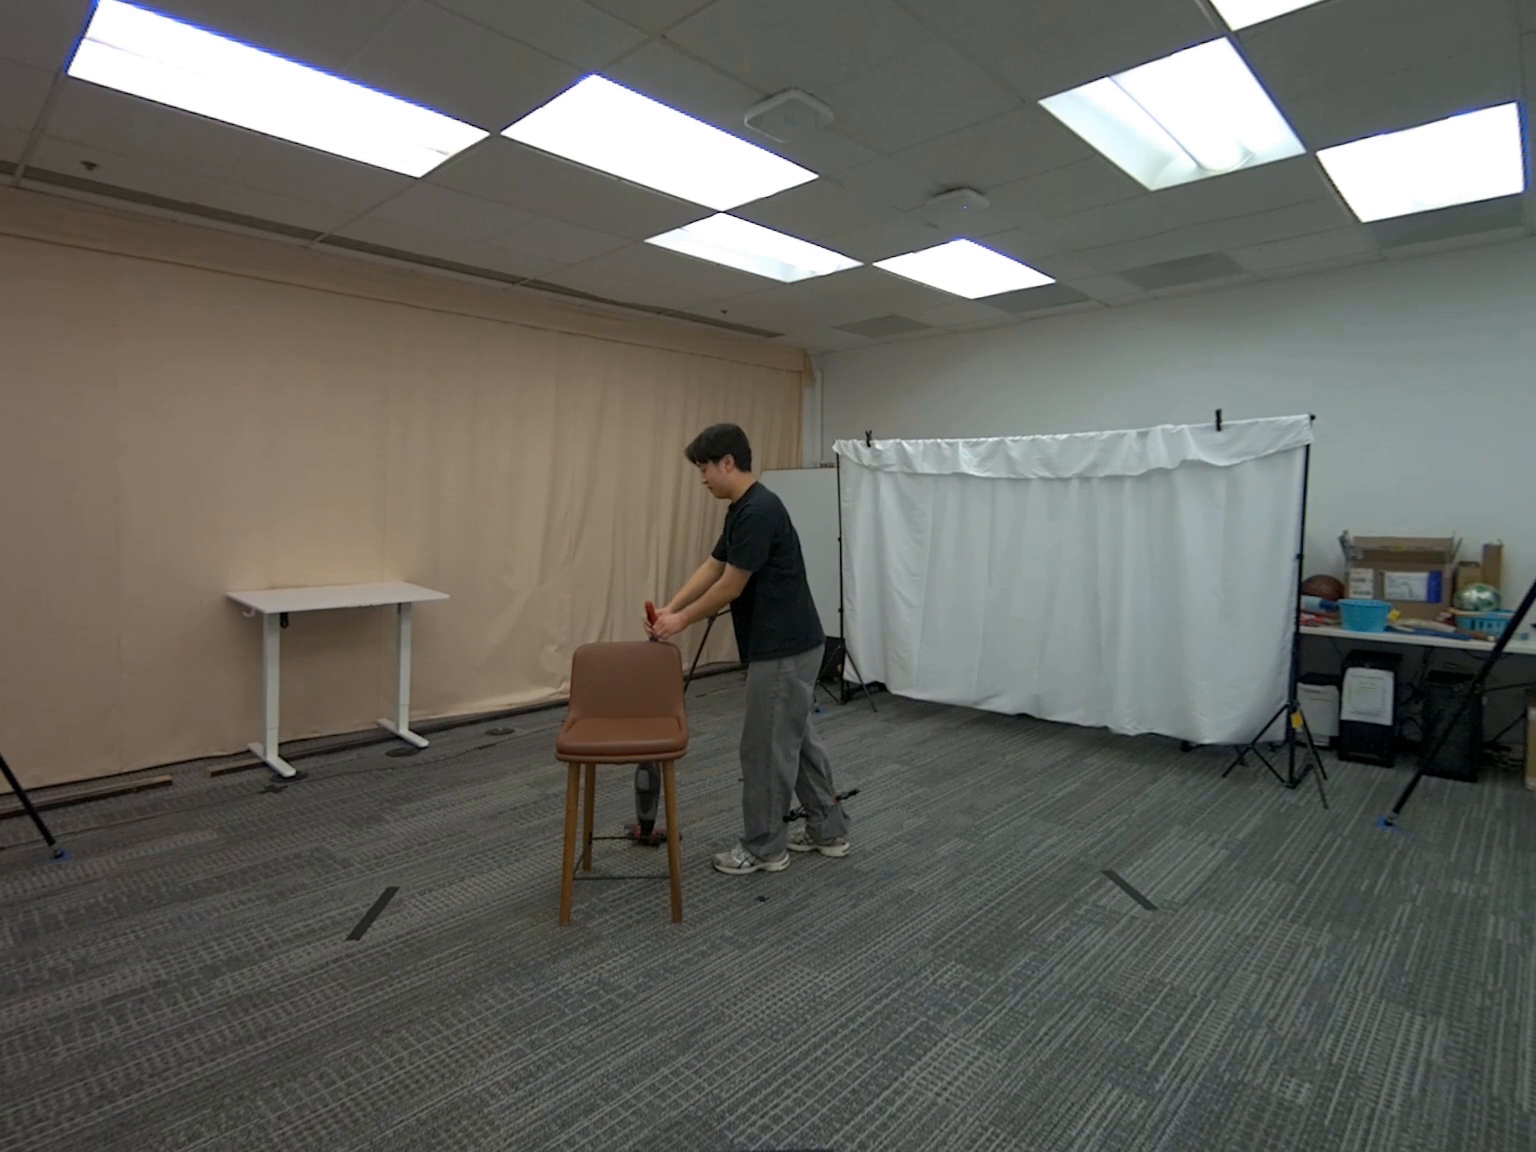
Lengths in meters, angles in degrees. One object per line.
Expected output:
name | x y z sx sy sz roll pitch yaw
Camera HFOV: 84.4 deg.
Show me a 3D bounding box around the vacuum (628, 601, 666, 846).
vacuum | -0.467 0.583 3.380 0.257 1.039 0.143 7 17 14
